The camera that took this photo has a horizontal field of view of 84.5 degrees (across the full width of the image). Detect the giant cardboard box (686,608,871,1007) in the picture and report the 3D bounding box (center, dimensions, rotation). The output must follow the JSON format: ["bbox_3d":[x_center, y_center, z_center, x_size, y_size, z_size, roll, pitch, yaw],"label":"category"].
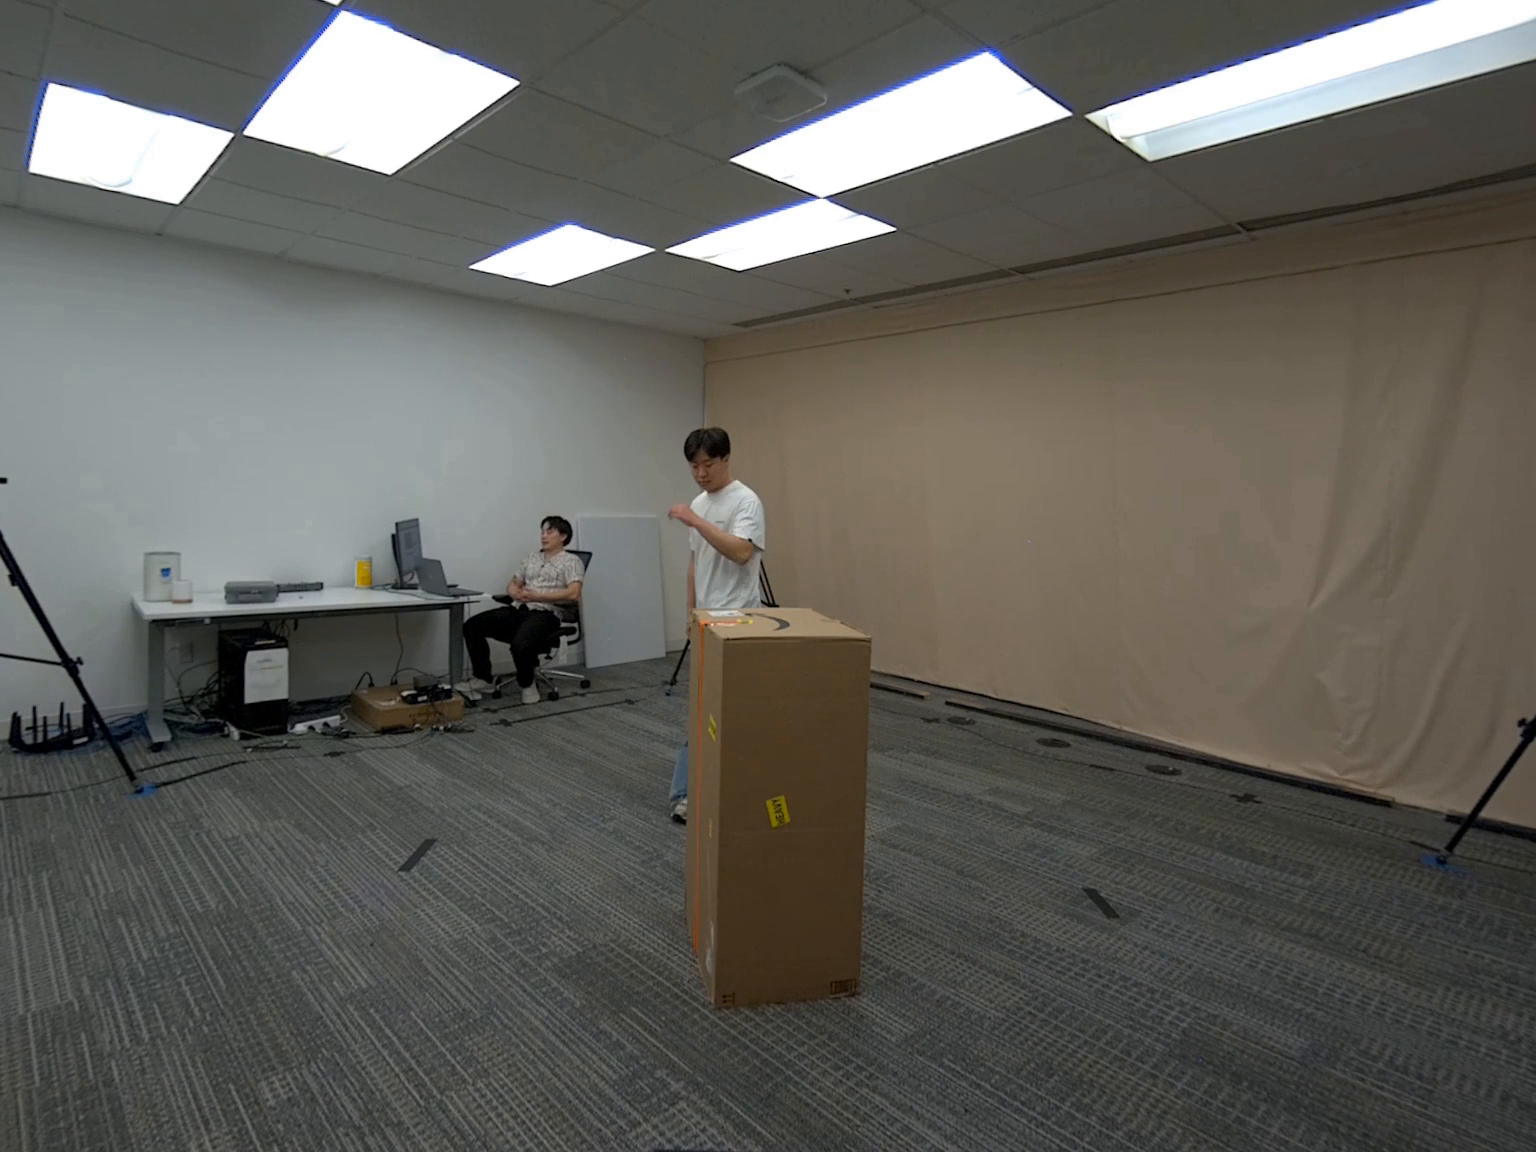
[{"bbox_3d":[0.002,0.647,2.579,0.422,1.023,0.585,0,4,-14],"label":"giant cardboard box"}]
